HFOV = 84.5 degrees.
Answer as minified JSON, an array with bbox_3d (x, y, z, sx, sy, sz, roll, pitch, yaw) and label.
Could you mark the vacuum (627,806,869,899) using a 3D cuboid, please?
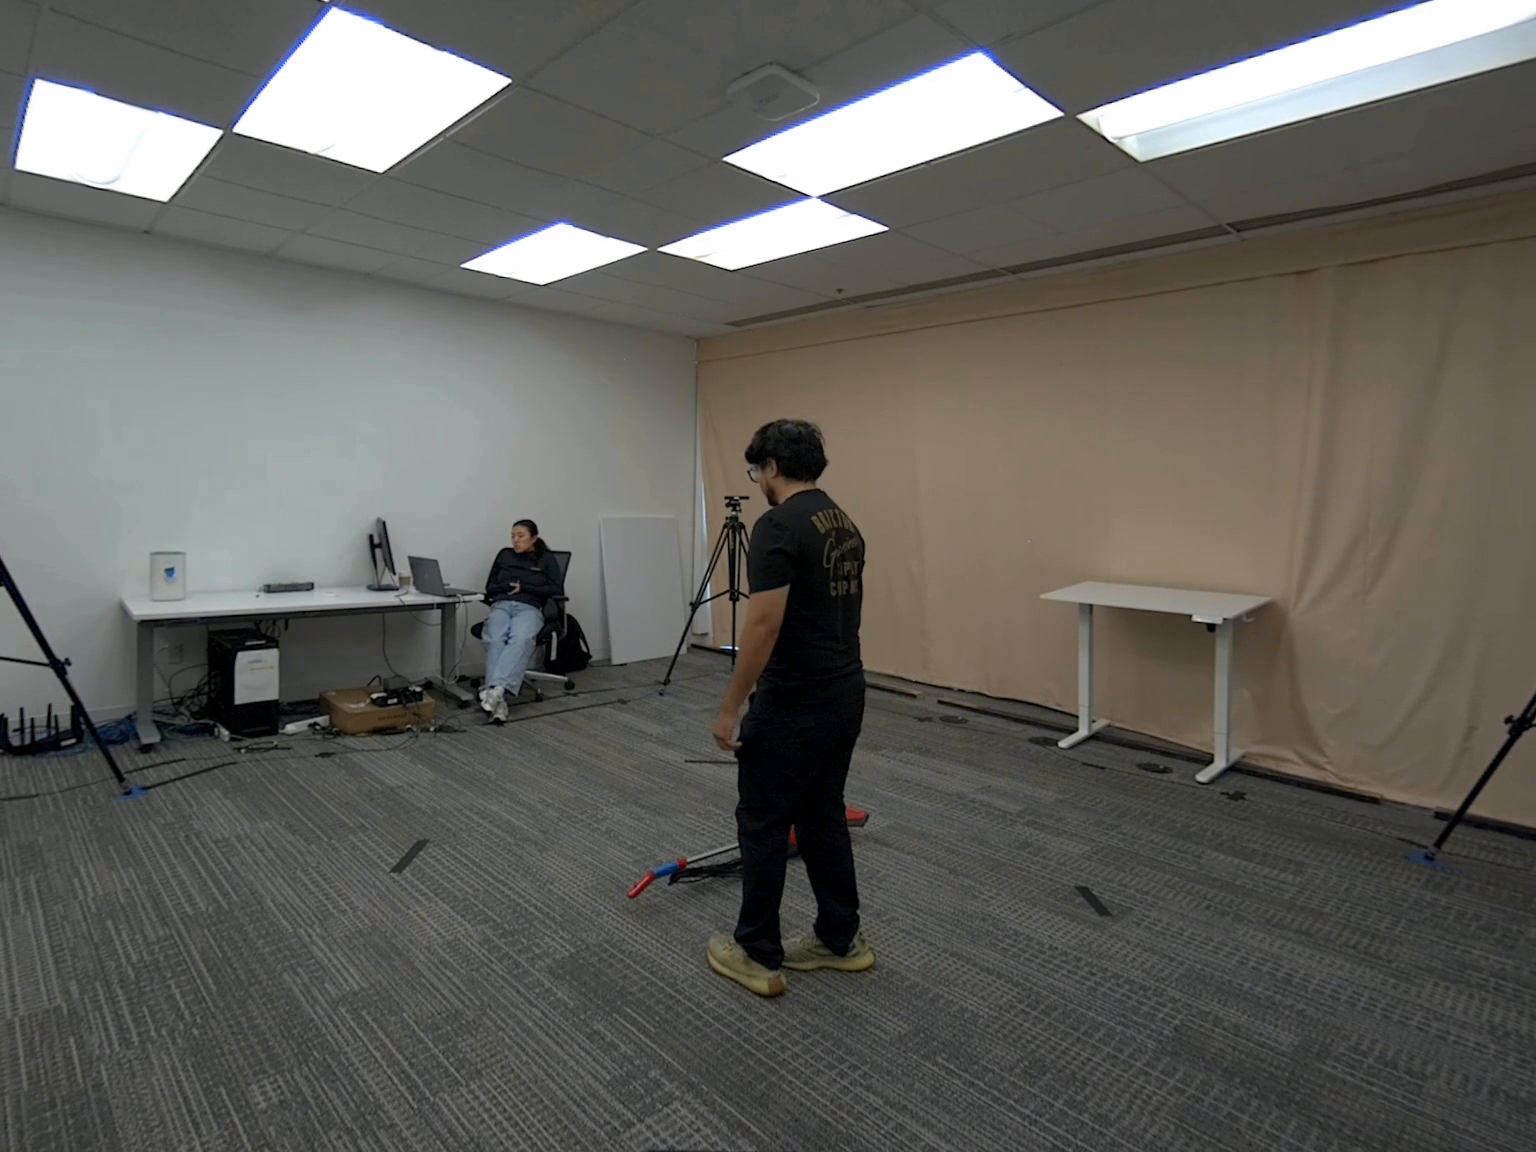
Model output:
[{"bbox_3d":[-0.079,1.043,3.136,1.026,0.143,0.259,-4,7,-42],"label":"vacuum"}]
